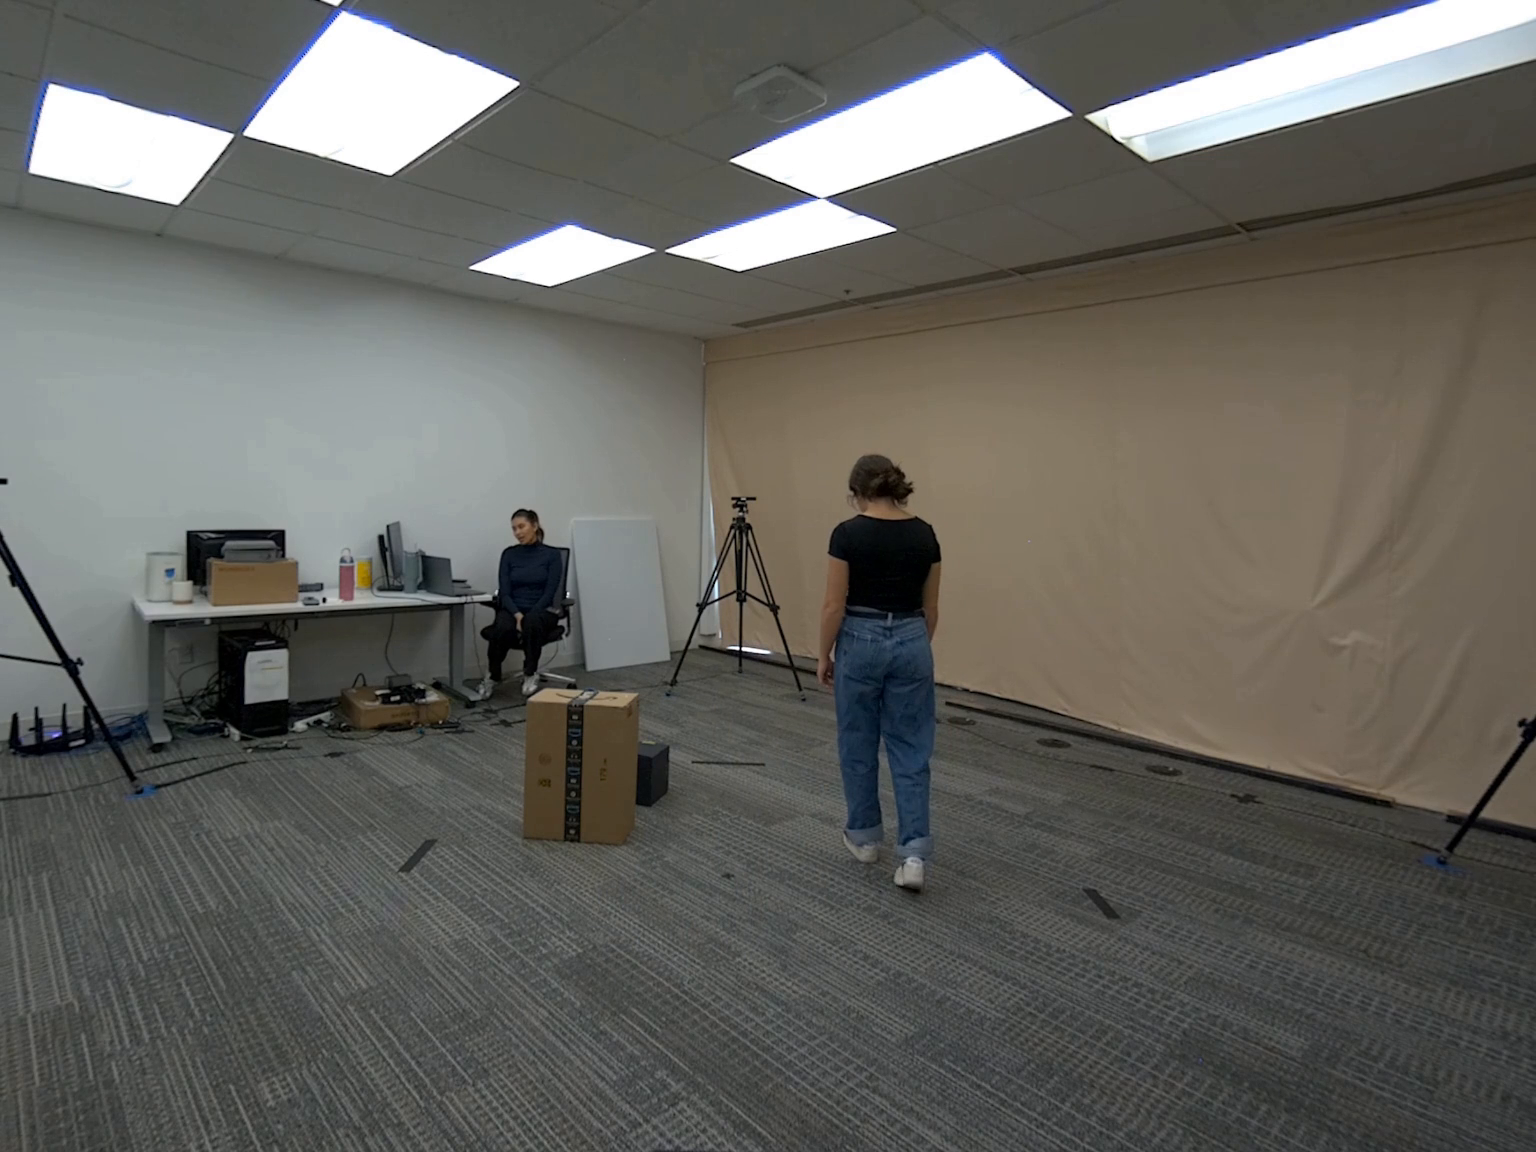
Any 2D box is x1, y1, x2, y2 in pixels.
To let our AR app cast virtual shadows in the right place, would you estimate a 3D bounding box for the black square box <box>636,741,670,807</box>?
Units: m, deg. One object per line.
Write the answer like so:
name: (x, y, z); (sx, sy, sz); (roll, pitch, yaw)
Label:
black square box: (-0.579, 0.907, 3.904); (0.158, 0.227, 0.215); (4, 4, 15)
